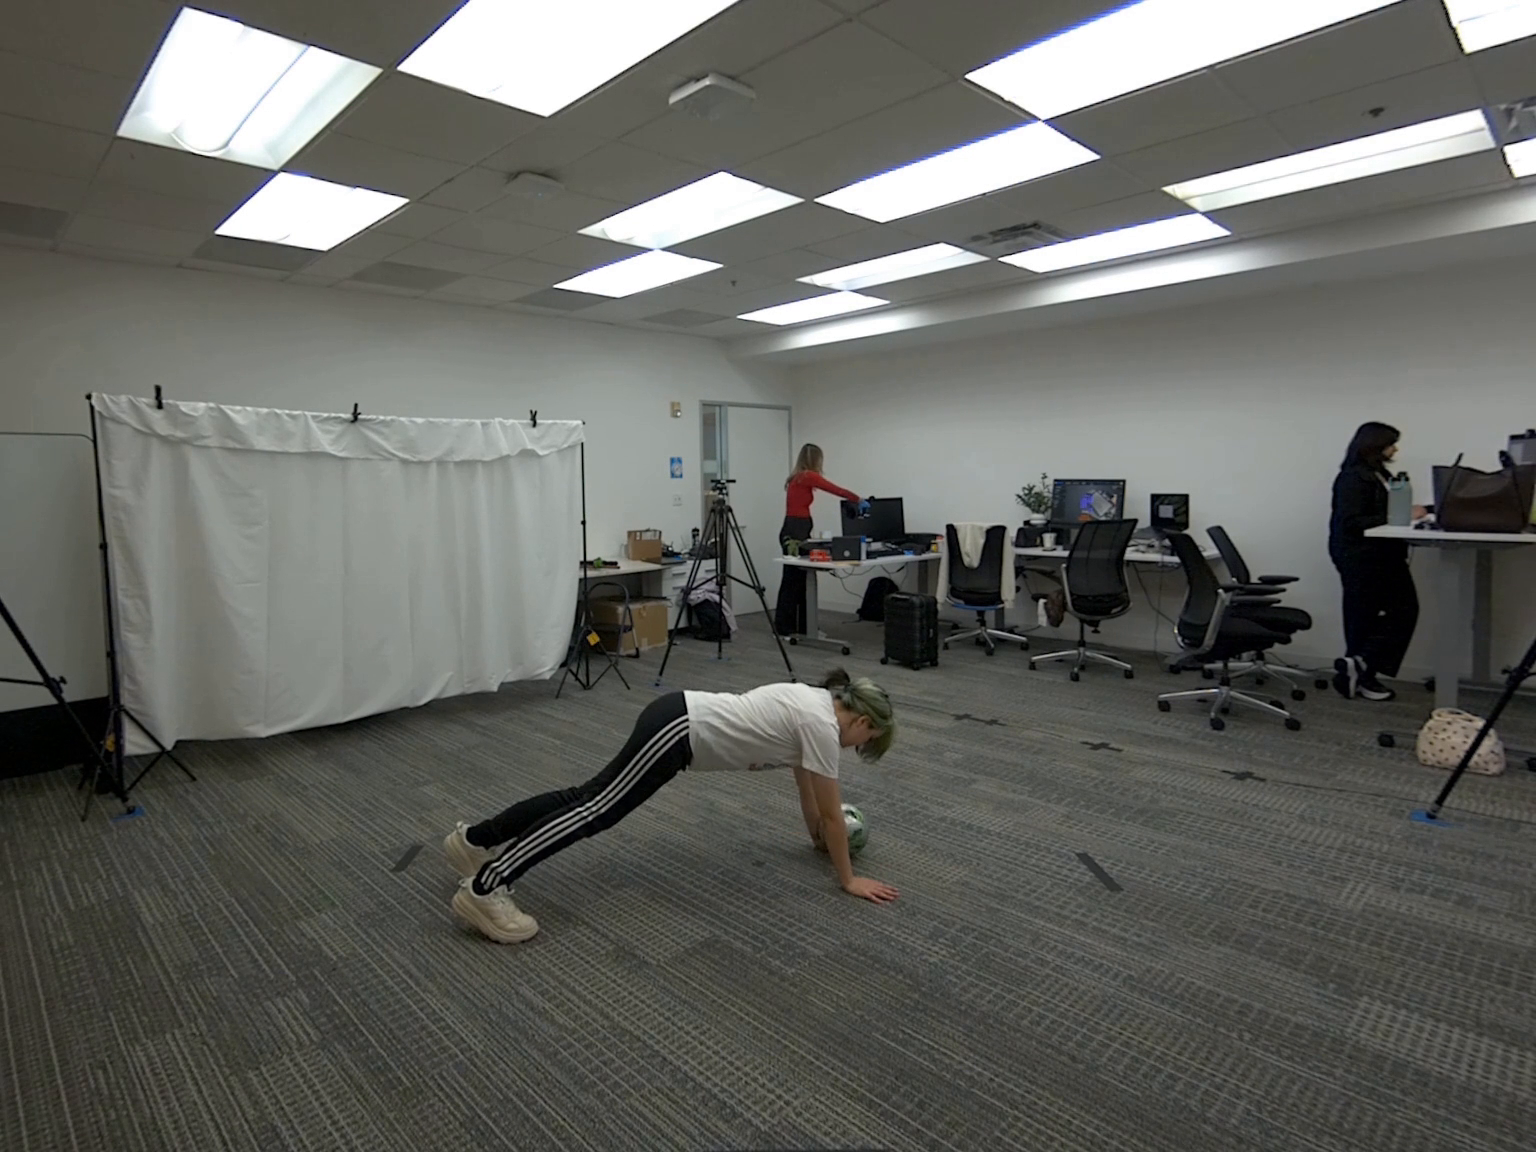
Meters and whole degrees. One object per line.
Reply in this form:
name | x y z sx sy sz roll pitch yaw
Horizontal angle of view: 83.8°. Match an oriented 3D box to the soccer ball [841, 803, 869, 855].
soccer ball | 0.287 0.945 3.139 0.187 0.187 0.188 -1 5 -2
